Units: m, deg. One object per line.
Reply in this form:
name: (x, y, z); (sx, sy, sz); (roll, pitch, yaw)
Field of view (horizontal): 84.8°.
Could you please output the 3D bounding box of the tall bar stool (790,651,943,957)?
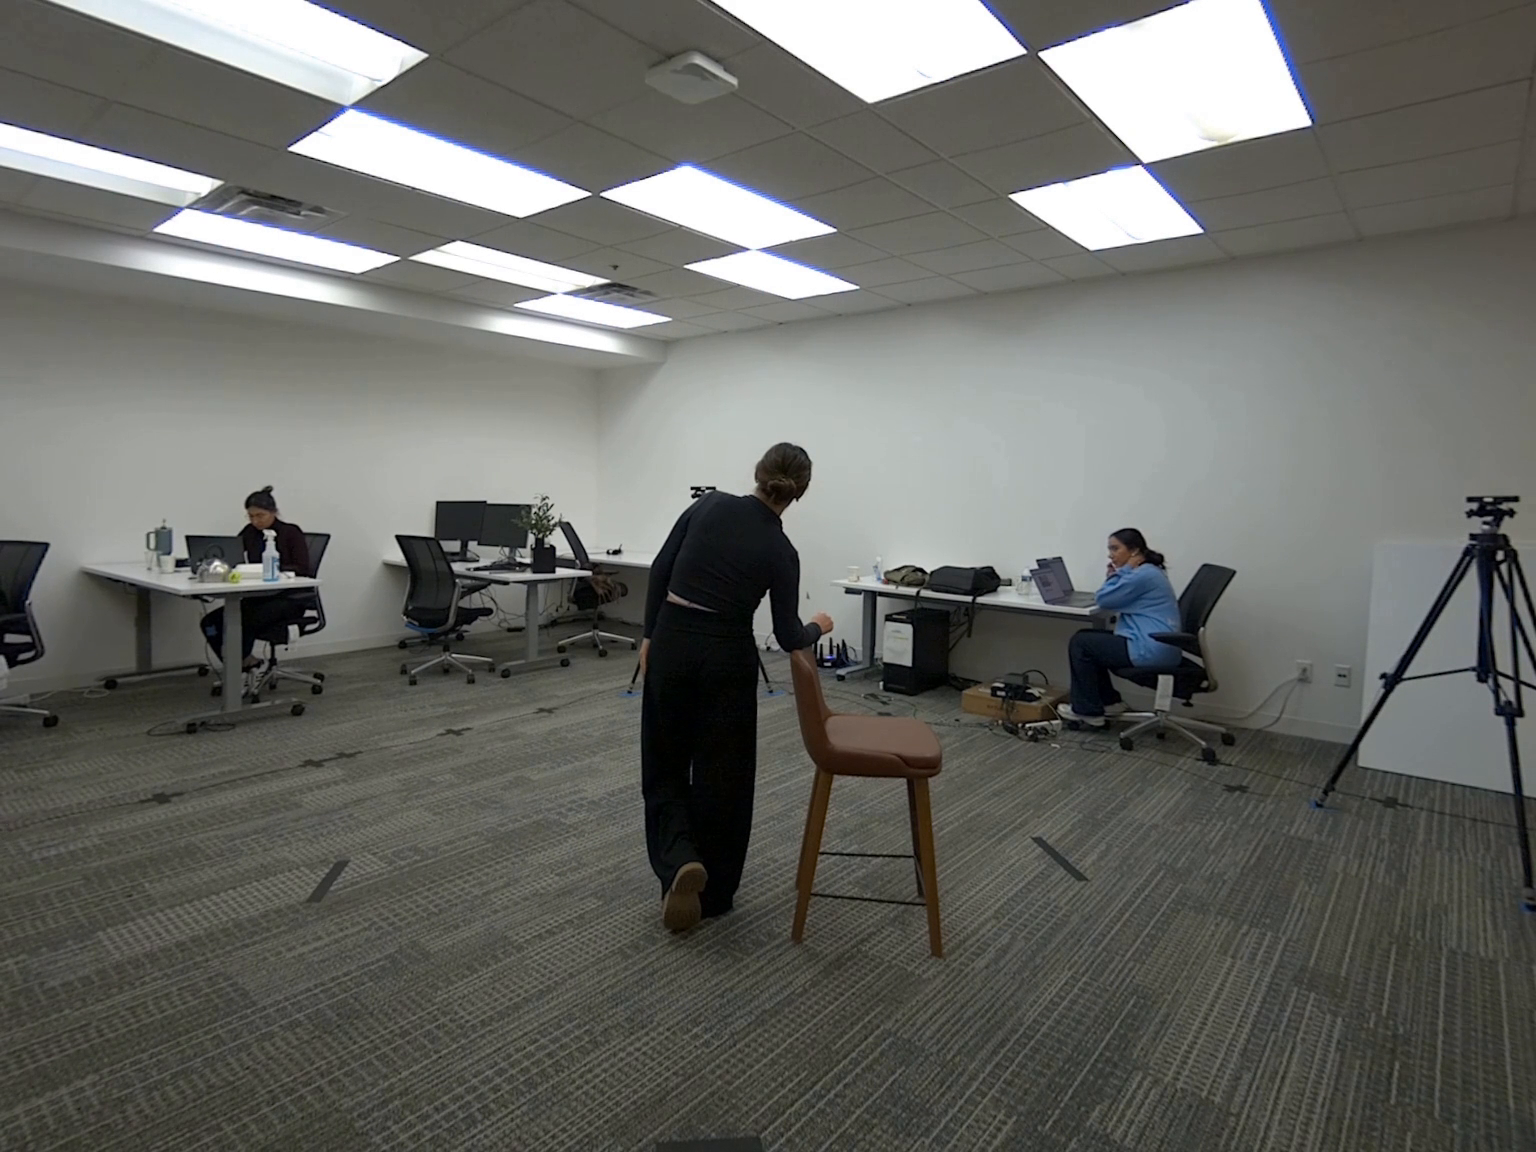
tall bar stool: (0.310, 0.678, 2.743); (0.471, 0.887, 0.454); (0, 3, 6)
